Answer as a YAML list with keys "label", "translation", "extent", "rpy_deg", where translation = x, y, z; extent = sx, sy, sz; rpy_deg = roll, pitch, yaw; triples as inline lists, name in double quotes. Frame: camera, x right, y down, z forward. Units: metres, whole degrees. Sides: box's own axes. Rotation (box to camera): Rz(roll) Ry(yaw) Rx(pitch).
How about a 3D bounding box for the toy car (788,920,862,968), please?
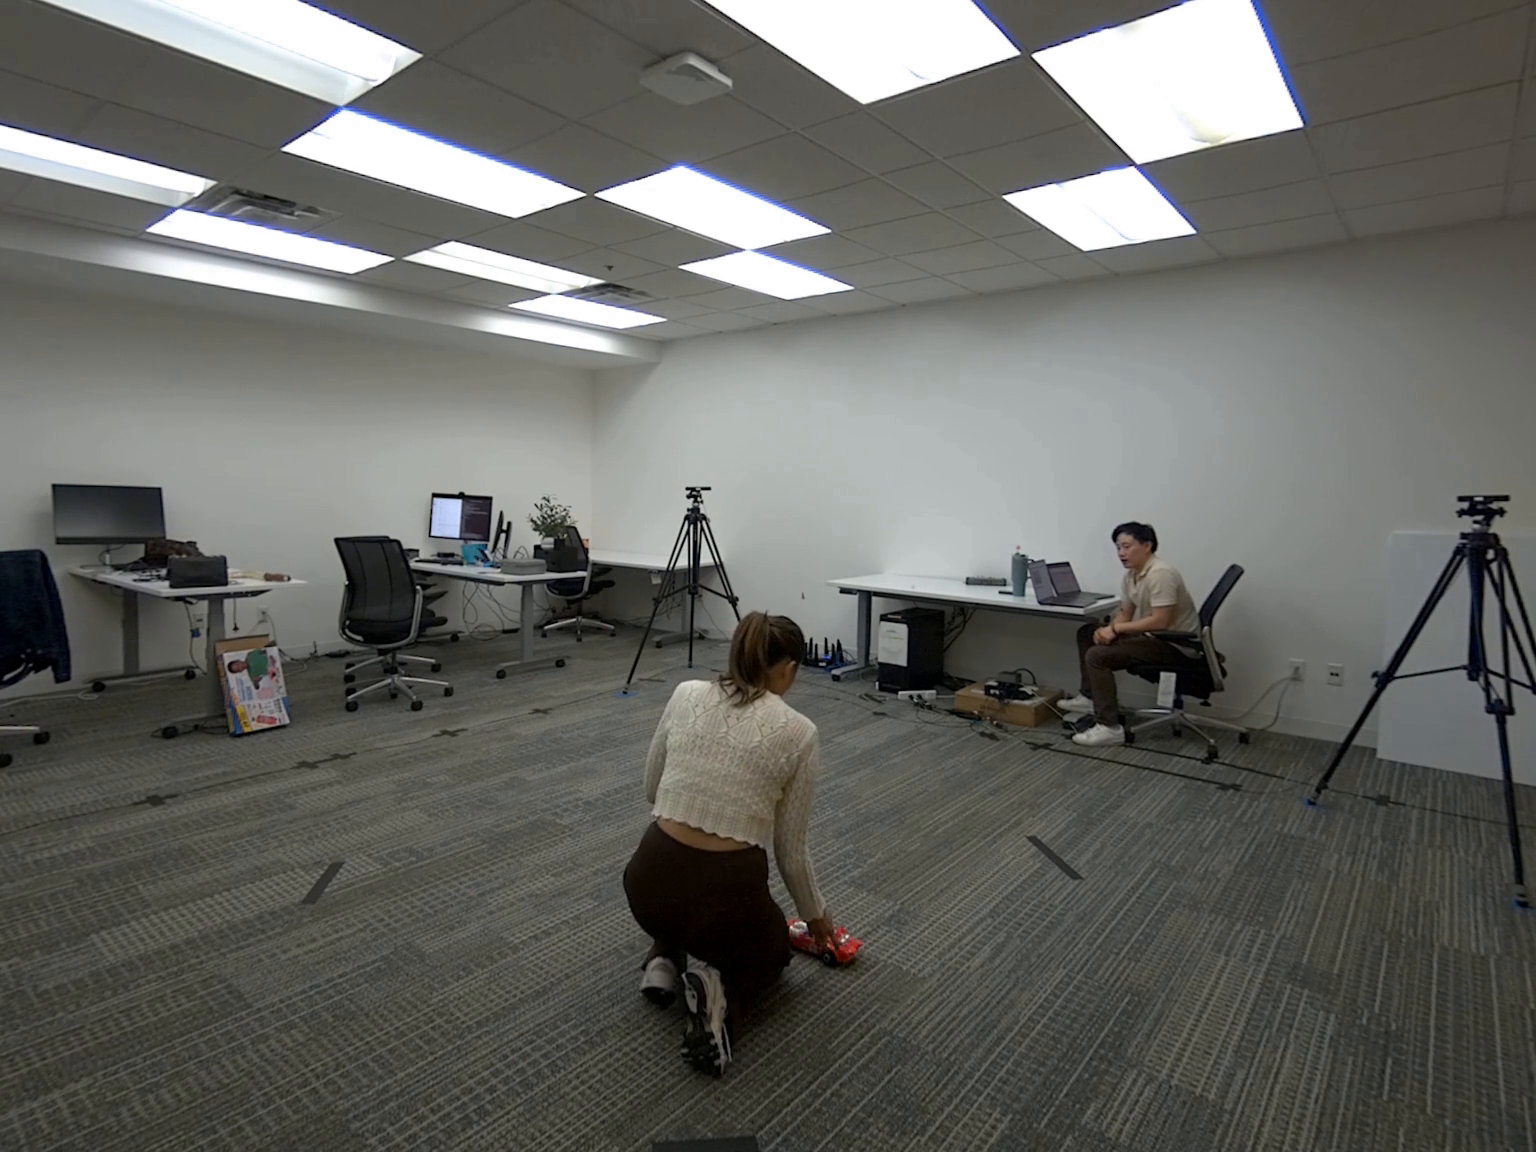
- label: "toy car"
  translation: [0.157, 1.095, 2.556]
  extent: [0.261, 0.083, 0.127]
  rpy_deg: [-6, 0, 34]
